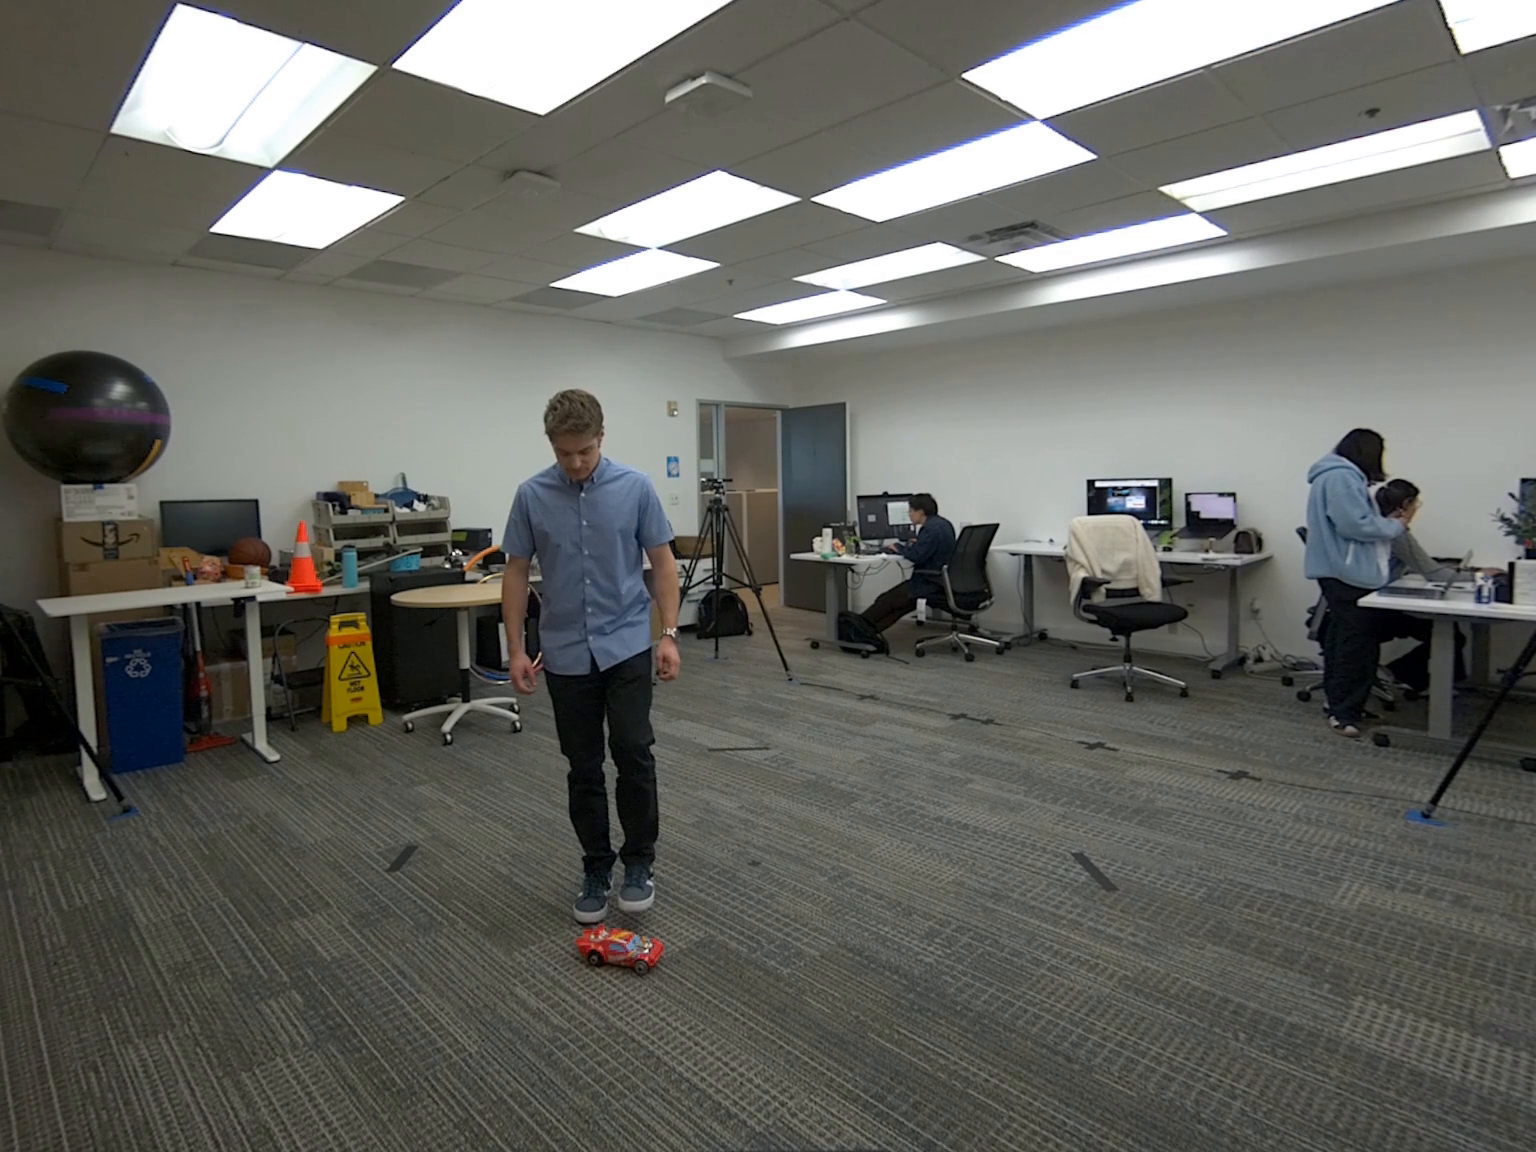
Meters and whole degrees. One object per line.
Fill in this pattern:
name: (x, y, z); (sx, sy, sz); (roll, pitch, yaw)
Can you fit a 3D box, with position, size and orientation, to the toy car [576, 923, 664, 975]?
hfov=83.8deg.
toy car: (-0.437, 1.095, 2.501); (0.259, 0.083, 0.129); (11, 9, 16)
